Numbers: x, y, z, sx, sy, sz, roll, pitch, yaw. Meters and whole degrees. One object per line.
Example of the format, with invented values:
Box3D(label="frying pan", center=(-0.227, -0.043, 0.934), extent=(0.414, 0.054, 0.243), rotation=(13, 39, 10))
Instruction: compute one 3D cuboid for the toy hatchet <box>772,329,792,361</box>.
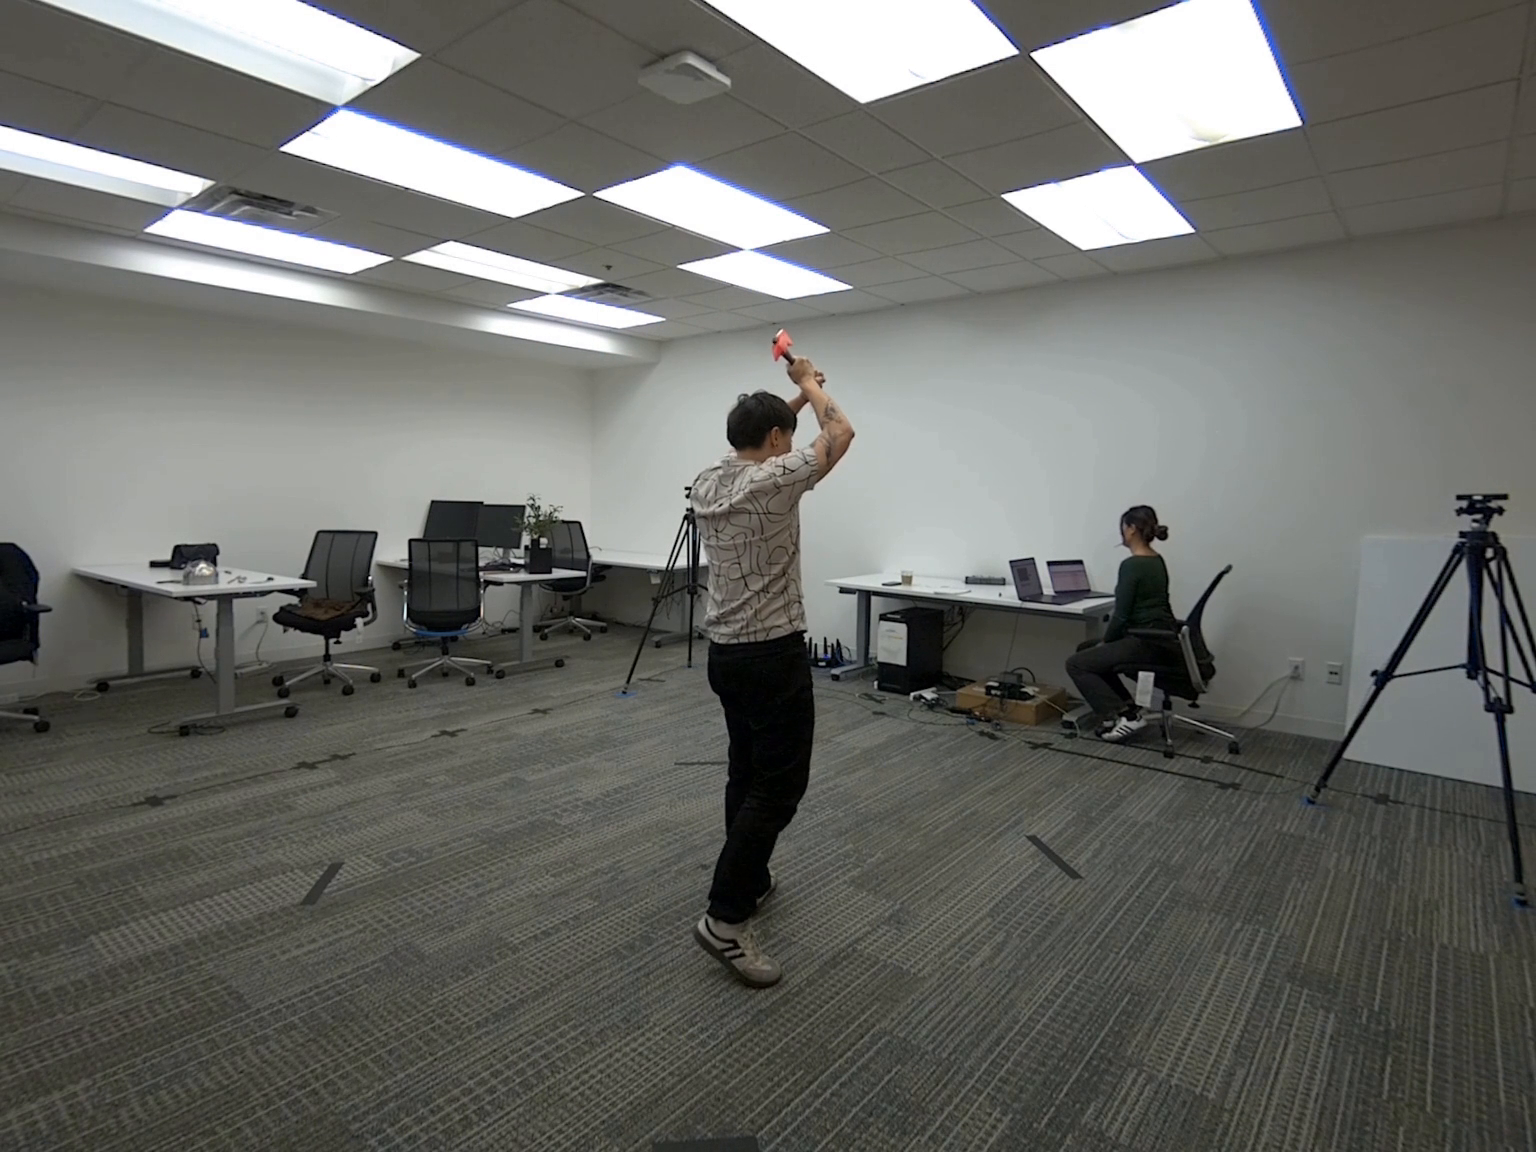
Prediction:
Box3D(label="toy hatchet", center=(0.096, -0.713, 2.781), extent=(0.030, 0.133, 0.259), rotation=(-18, -23, 36))
